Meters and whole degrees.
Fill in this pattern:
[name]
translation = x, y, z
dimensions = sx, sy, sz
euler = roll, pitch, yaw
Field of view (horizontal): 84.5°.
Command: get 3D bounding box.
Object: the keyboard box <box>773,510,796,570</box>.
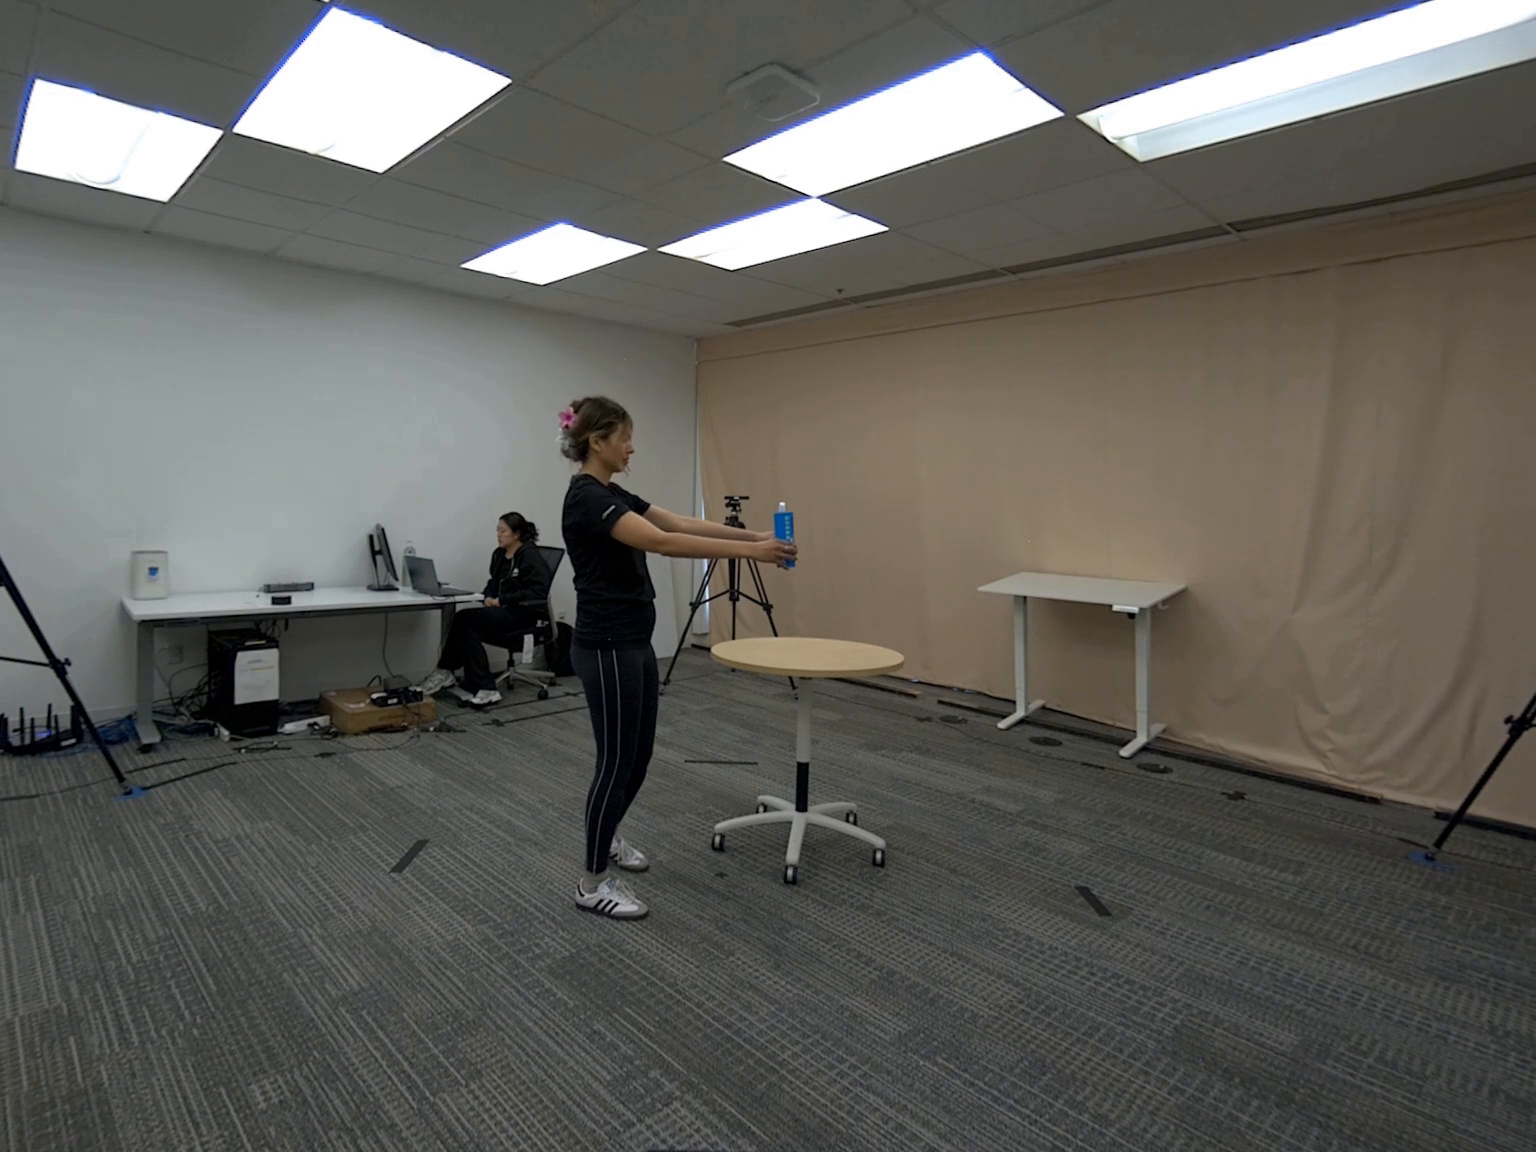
[keyboard box]
translation = 0.046, -0.128, 2.811
dimensions = 0.059, 0.175, 0.437
euler = -3, 3, 0
